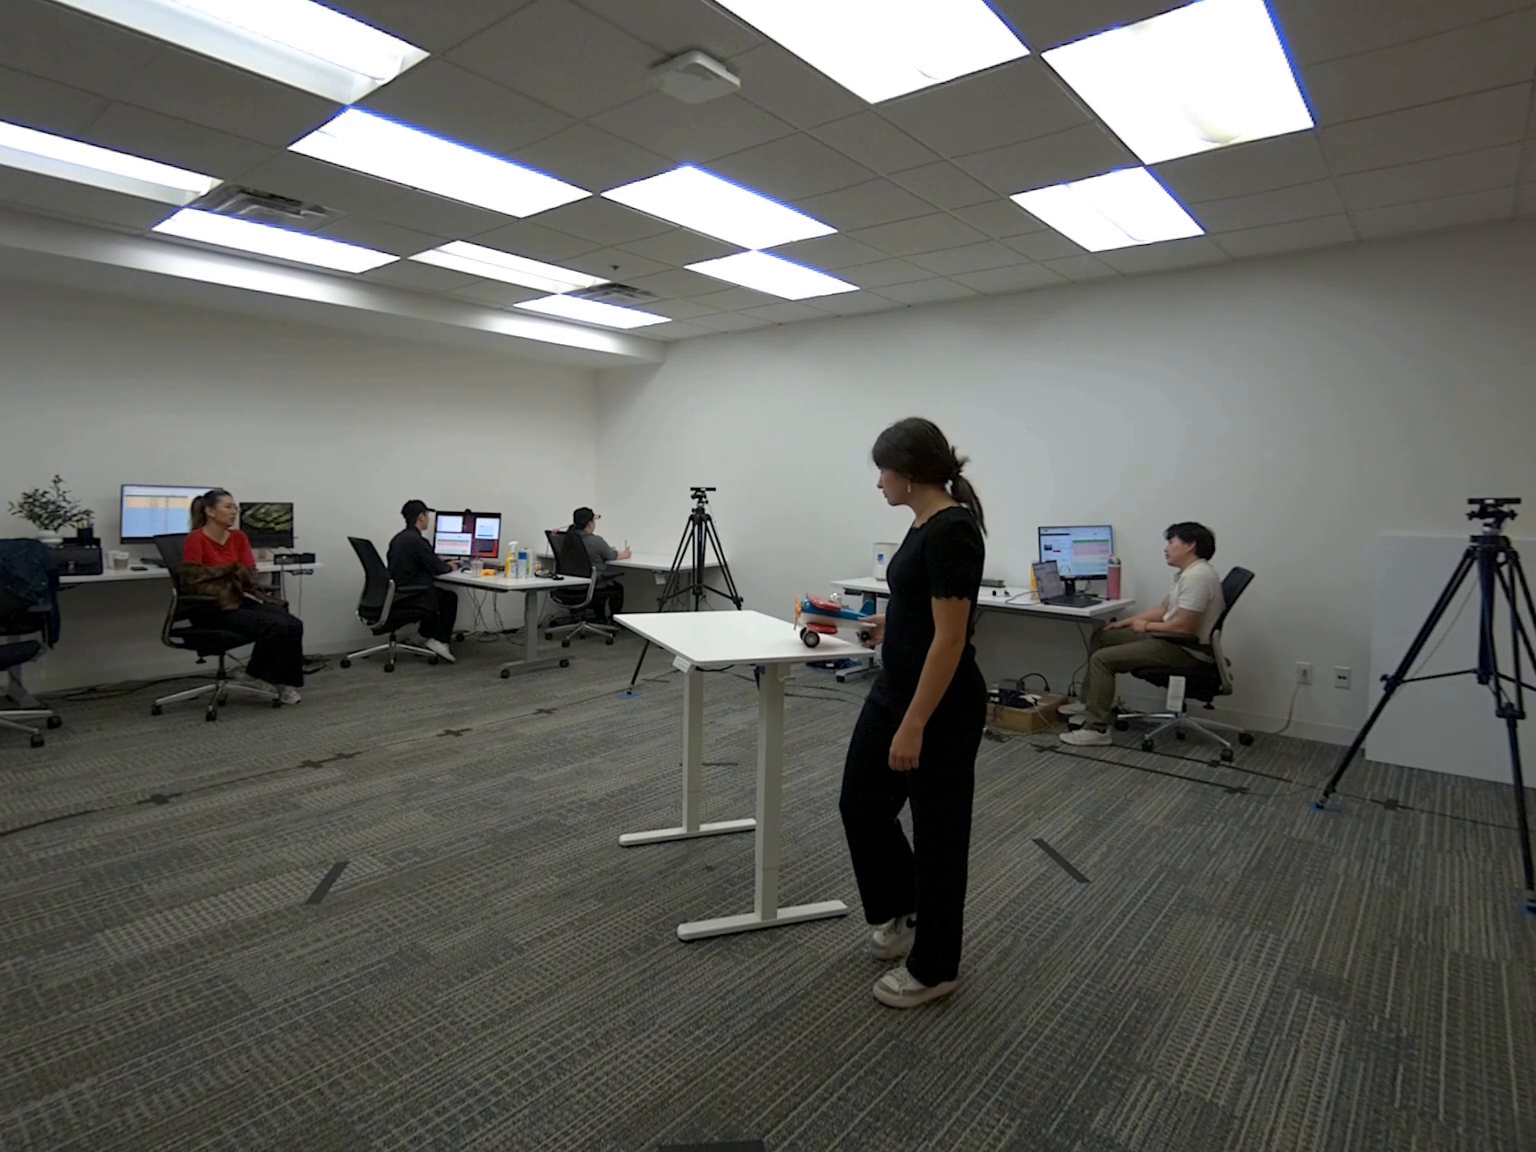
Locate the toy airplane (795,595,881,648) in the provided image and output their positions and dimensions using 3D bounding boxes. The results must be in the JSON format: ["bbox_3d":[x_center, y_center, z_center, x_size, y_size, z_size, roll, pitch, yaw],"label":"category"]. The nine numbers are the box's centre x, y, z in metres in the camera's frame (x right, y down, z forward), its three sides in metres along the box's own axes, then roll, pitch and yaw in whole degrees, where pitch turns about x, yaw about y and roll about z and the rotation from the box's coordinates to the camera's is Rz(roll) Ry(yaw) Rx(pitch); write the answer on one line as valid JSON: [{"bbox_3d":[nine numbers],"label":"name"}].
[{"bbox_3d":[0.198,0.137,2.773,0.253,0.156,0.258,-8,6,-28],"label":"toy airplane"}]
